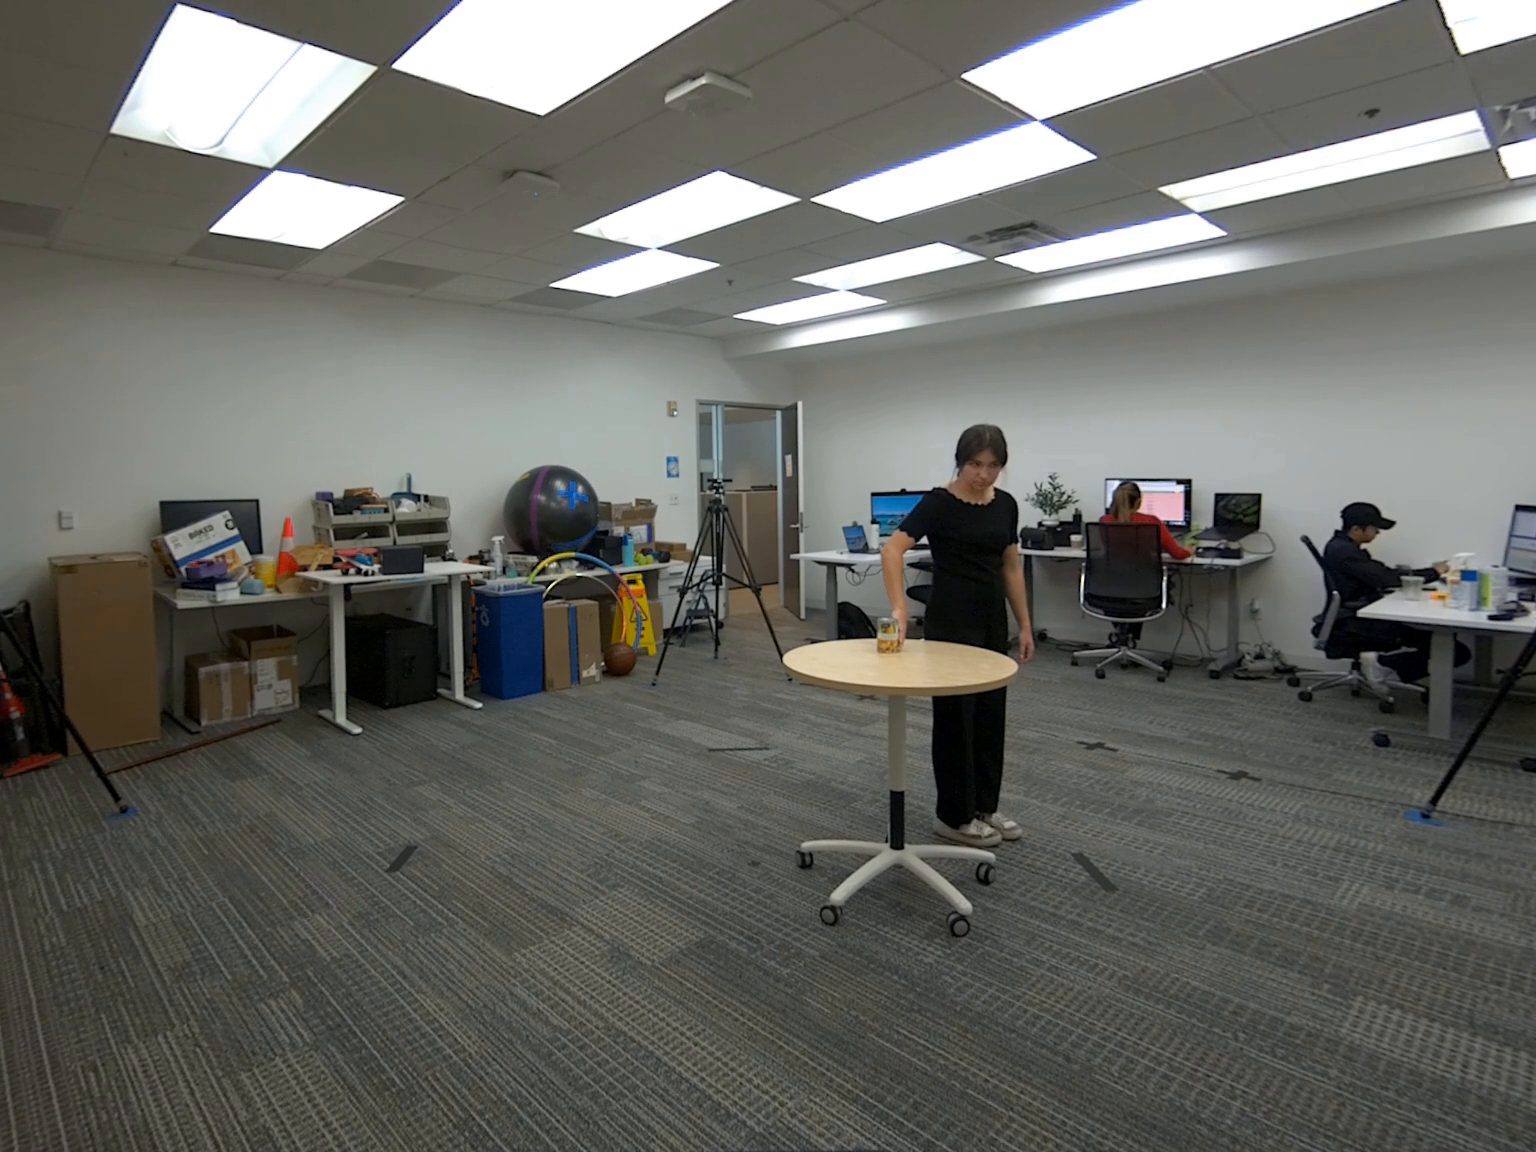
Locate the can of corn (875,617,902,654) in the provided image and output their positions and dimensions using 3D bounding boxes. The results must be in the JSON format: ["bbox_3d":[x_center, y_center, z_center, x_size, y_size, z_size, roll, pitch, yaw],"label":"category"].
[{"bbox_3d":[0.428,0.209,2.999,0.074,0.110,0.075,0,6,-2],"label":"can of corn"}]
